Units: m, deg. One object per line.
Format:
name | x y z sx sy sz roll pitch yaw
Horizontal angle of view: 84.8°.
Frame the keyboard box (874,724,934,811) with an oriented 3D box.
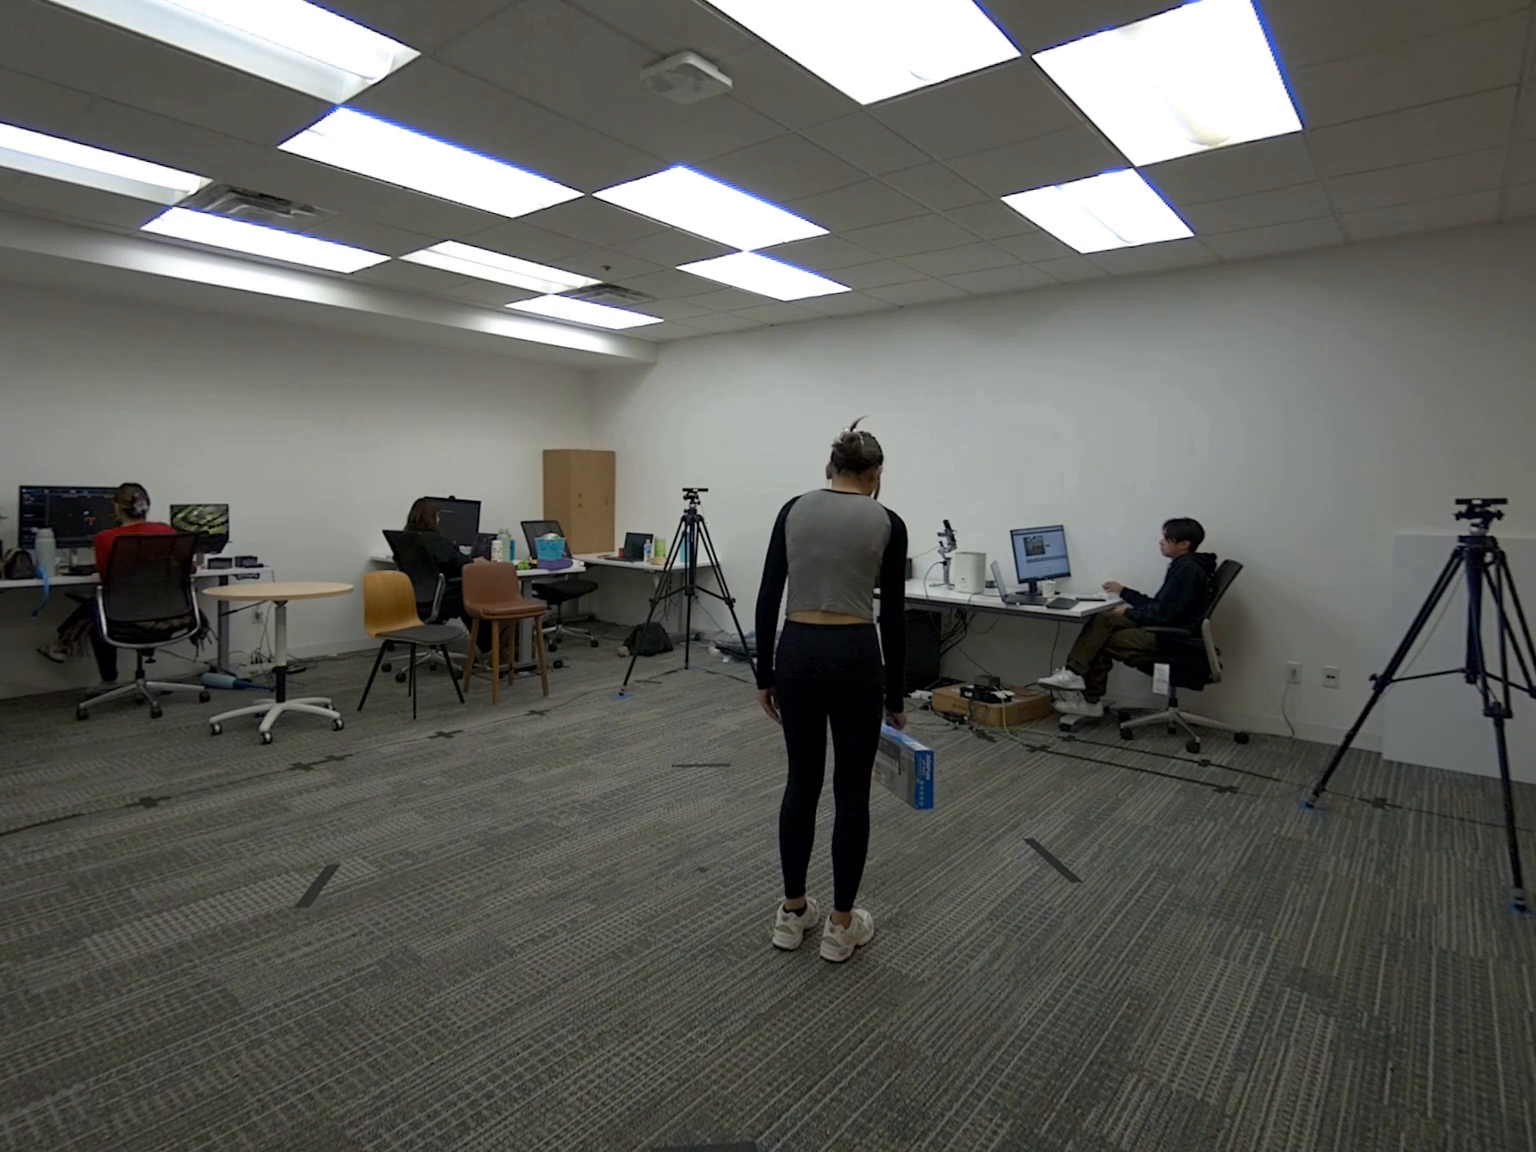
keyboard box | 0.384 0.580 2.681 0.058 0.176 0.444 0 2 -16
